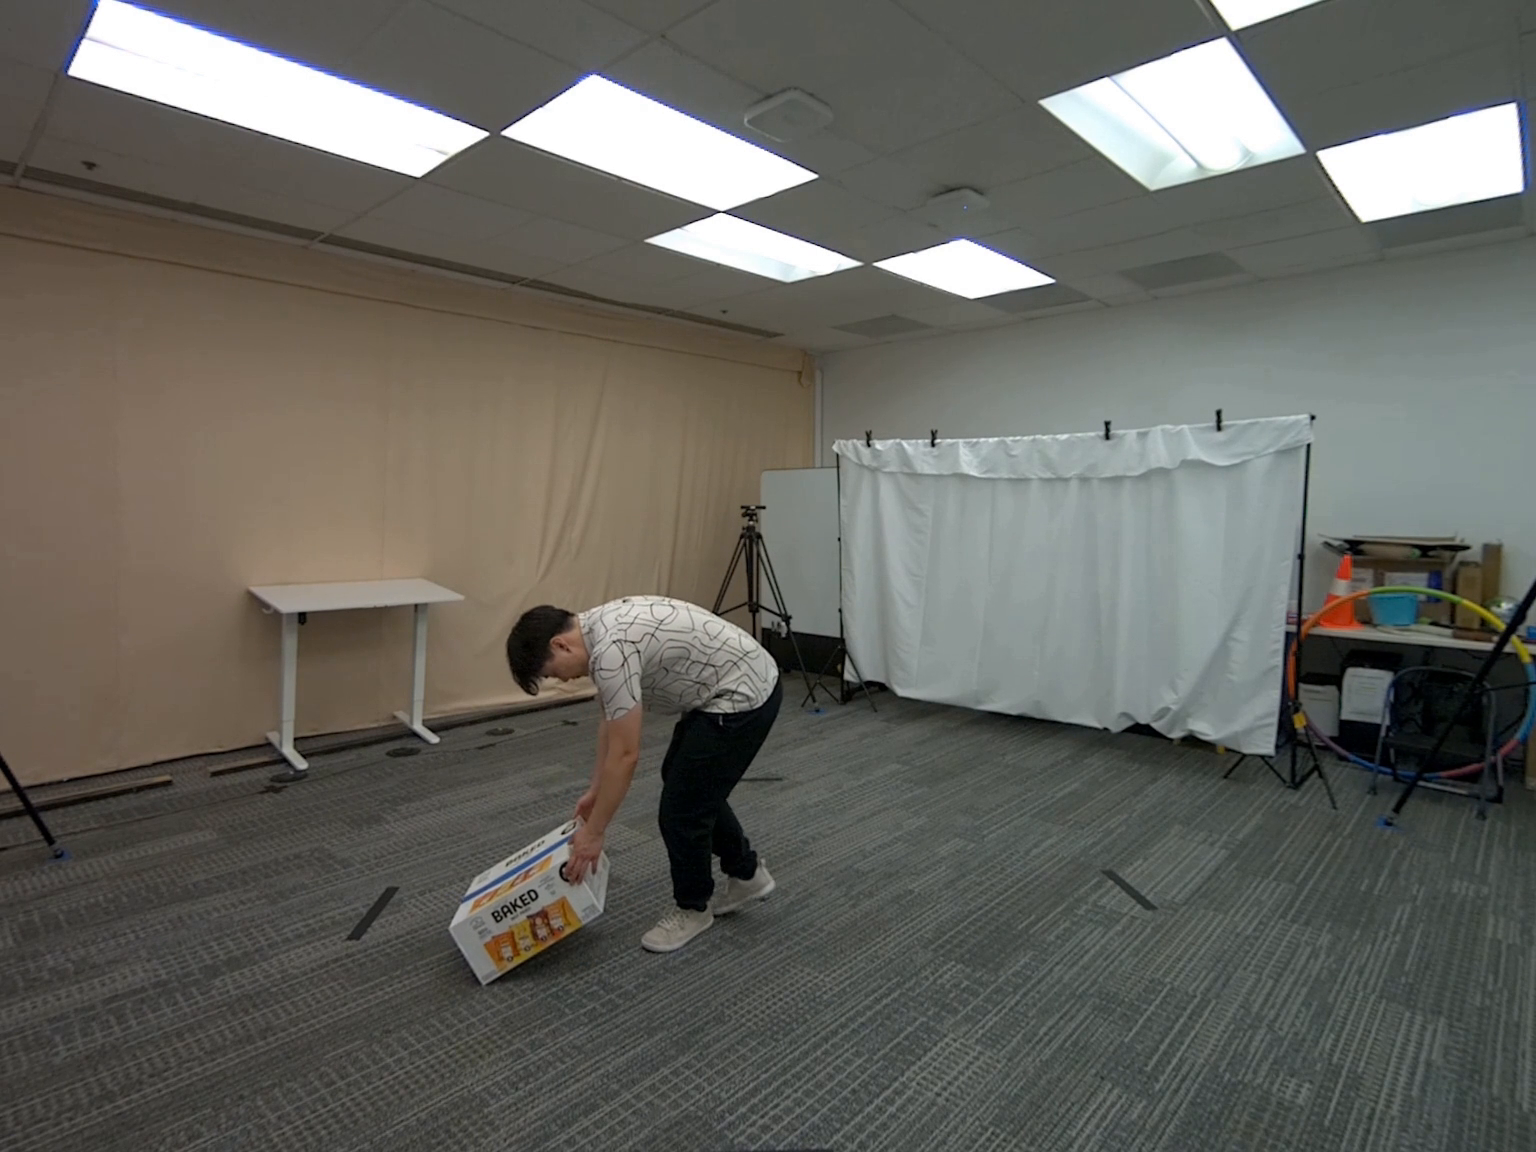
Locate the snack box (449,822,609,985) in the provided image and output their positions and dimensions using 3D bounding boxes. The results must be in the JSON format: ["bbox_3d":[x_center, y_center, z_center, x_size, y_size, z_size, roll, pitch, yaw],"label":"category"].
[{"bbox_3d":[-0.728,0.995,2.614,0.404,0.204,0.343,-30,7,-3],"label":"snack box"}]
